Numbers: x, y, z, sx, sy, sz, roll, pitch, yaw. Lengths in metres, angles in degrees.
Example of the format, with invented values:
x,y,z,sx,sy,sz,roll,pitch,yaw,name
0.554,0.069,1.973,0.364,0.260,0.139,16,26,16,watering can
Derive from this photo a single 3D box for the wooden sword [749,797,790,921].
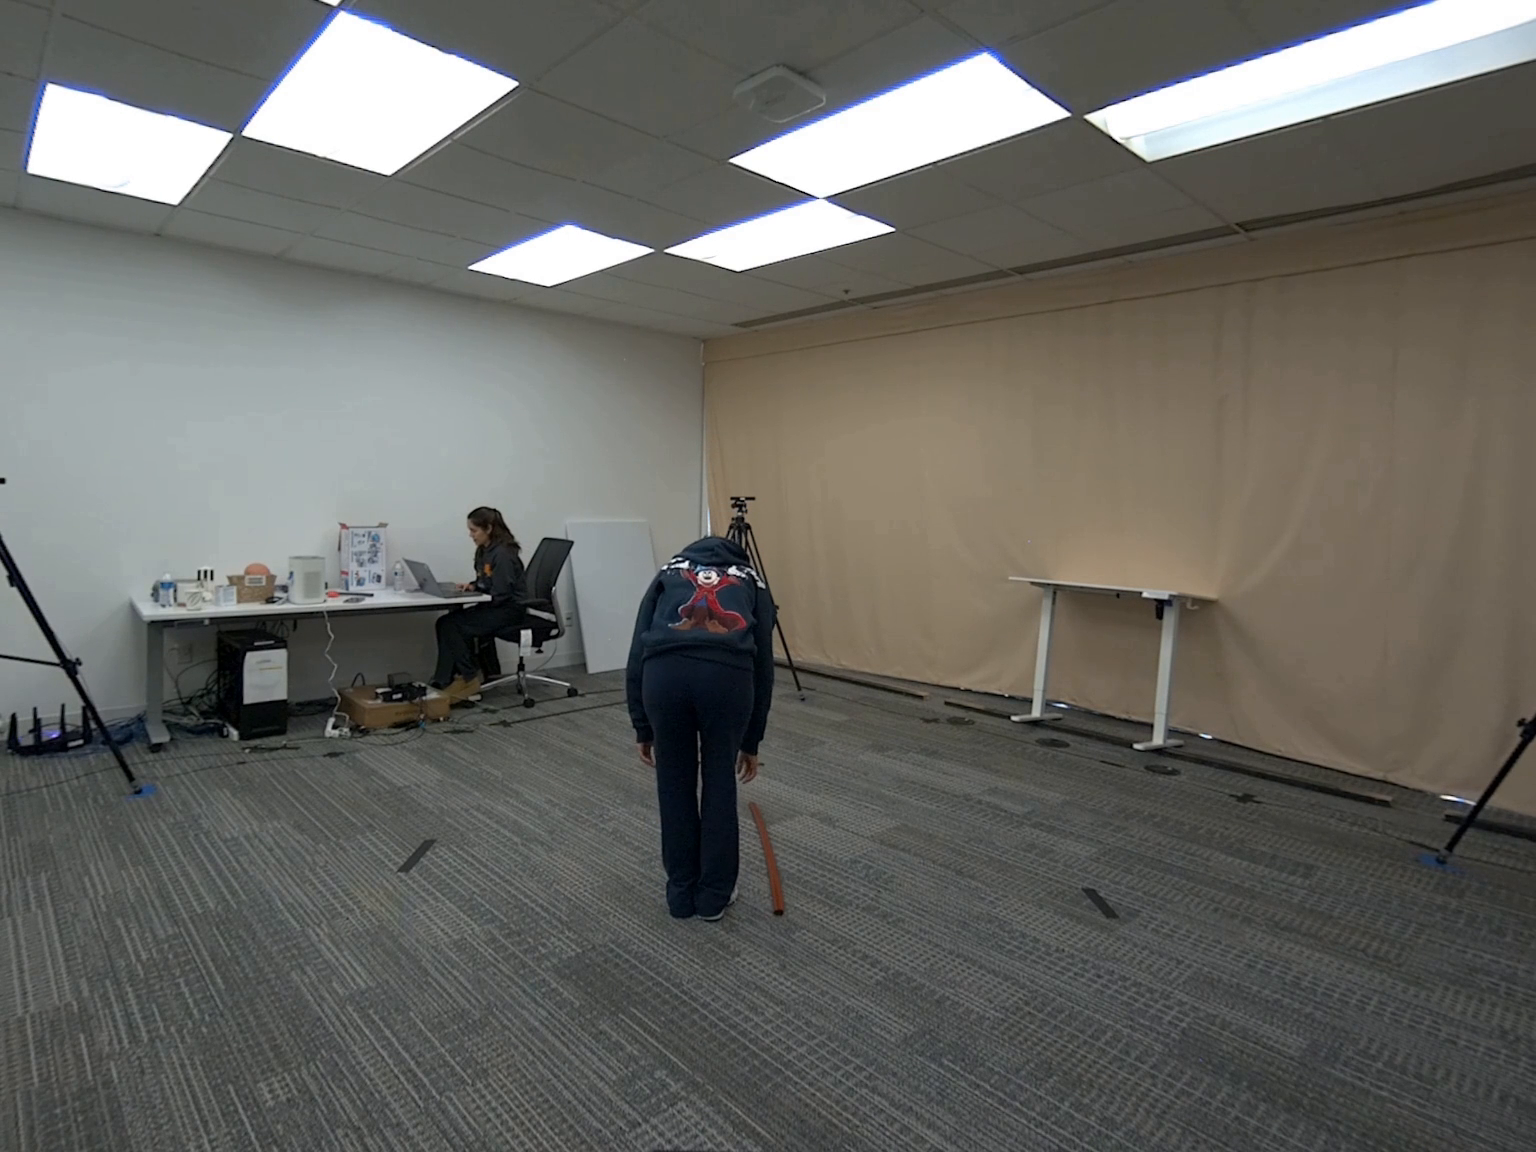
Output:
x,y,z,sx,sy,sz,roll,pitch,yaw,name
-0.009,1.075,3.331,0.024,0.051,1.033,-1,5,-7,wooden sword
